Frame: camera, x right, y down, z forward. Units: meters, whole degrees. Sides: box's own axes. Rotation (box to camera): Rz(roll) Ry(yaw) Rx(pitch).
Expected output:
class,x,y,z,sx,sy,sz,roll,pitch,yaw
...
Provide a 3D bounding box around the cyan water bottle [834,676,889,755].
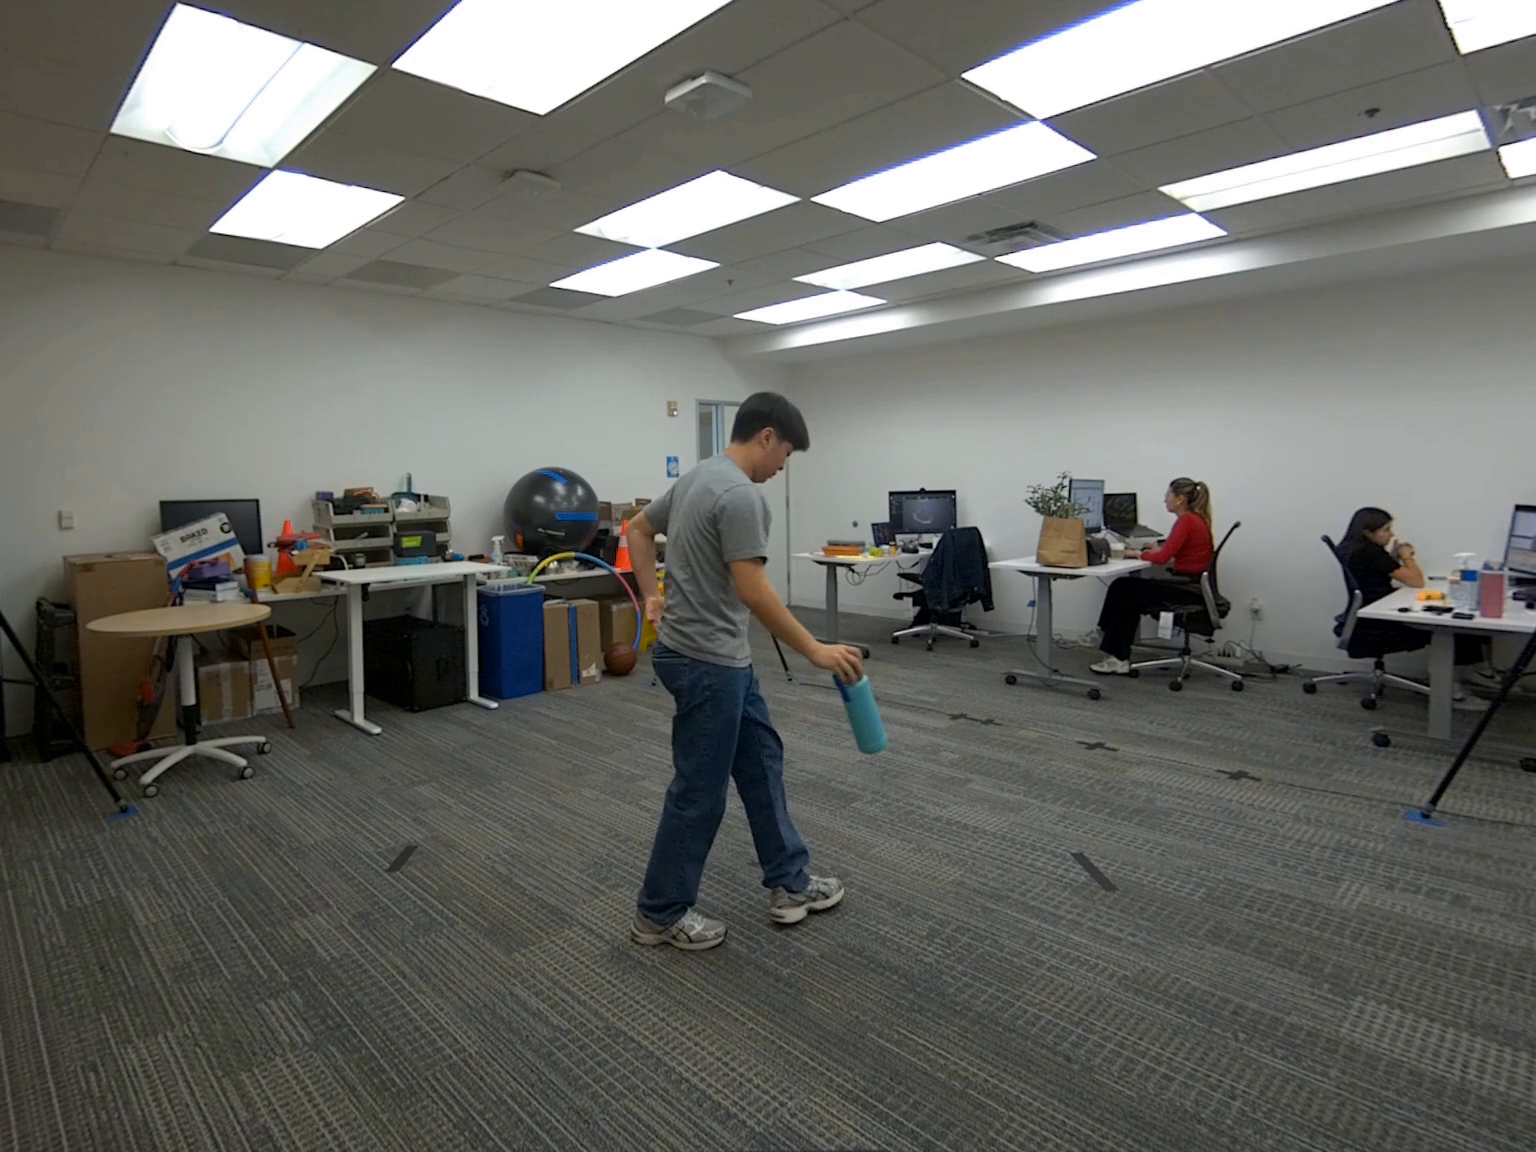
class,x,y,z,sx,sy,sz,roll,pitch,yaw
cyan water bottle,0.258,0.366,2.468,0.092,0.279,0.093,-19,14,4
